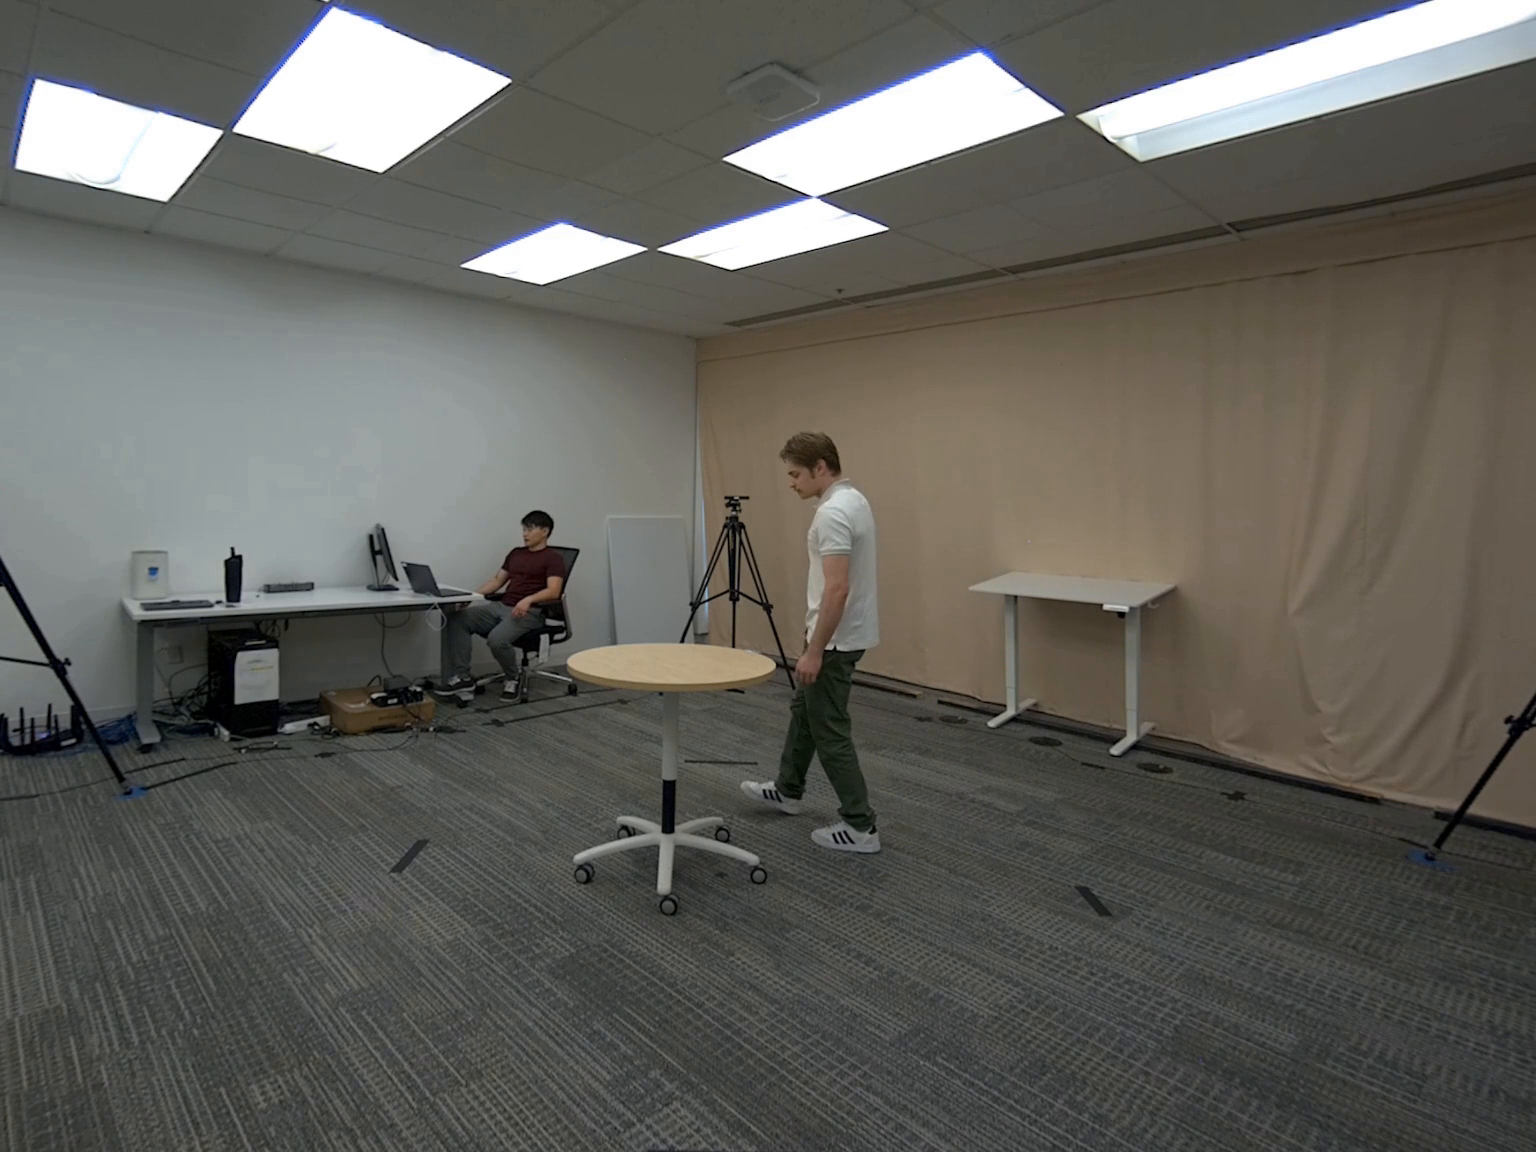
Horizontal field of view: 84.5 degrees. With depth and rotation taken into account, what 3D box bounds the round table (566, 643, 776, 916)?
[{"bbox_3d":[-0.370,0.709,3.121,0.763,0.792,0.766,2,4,-1],"label":"round table"}]
